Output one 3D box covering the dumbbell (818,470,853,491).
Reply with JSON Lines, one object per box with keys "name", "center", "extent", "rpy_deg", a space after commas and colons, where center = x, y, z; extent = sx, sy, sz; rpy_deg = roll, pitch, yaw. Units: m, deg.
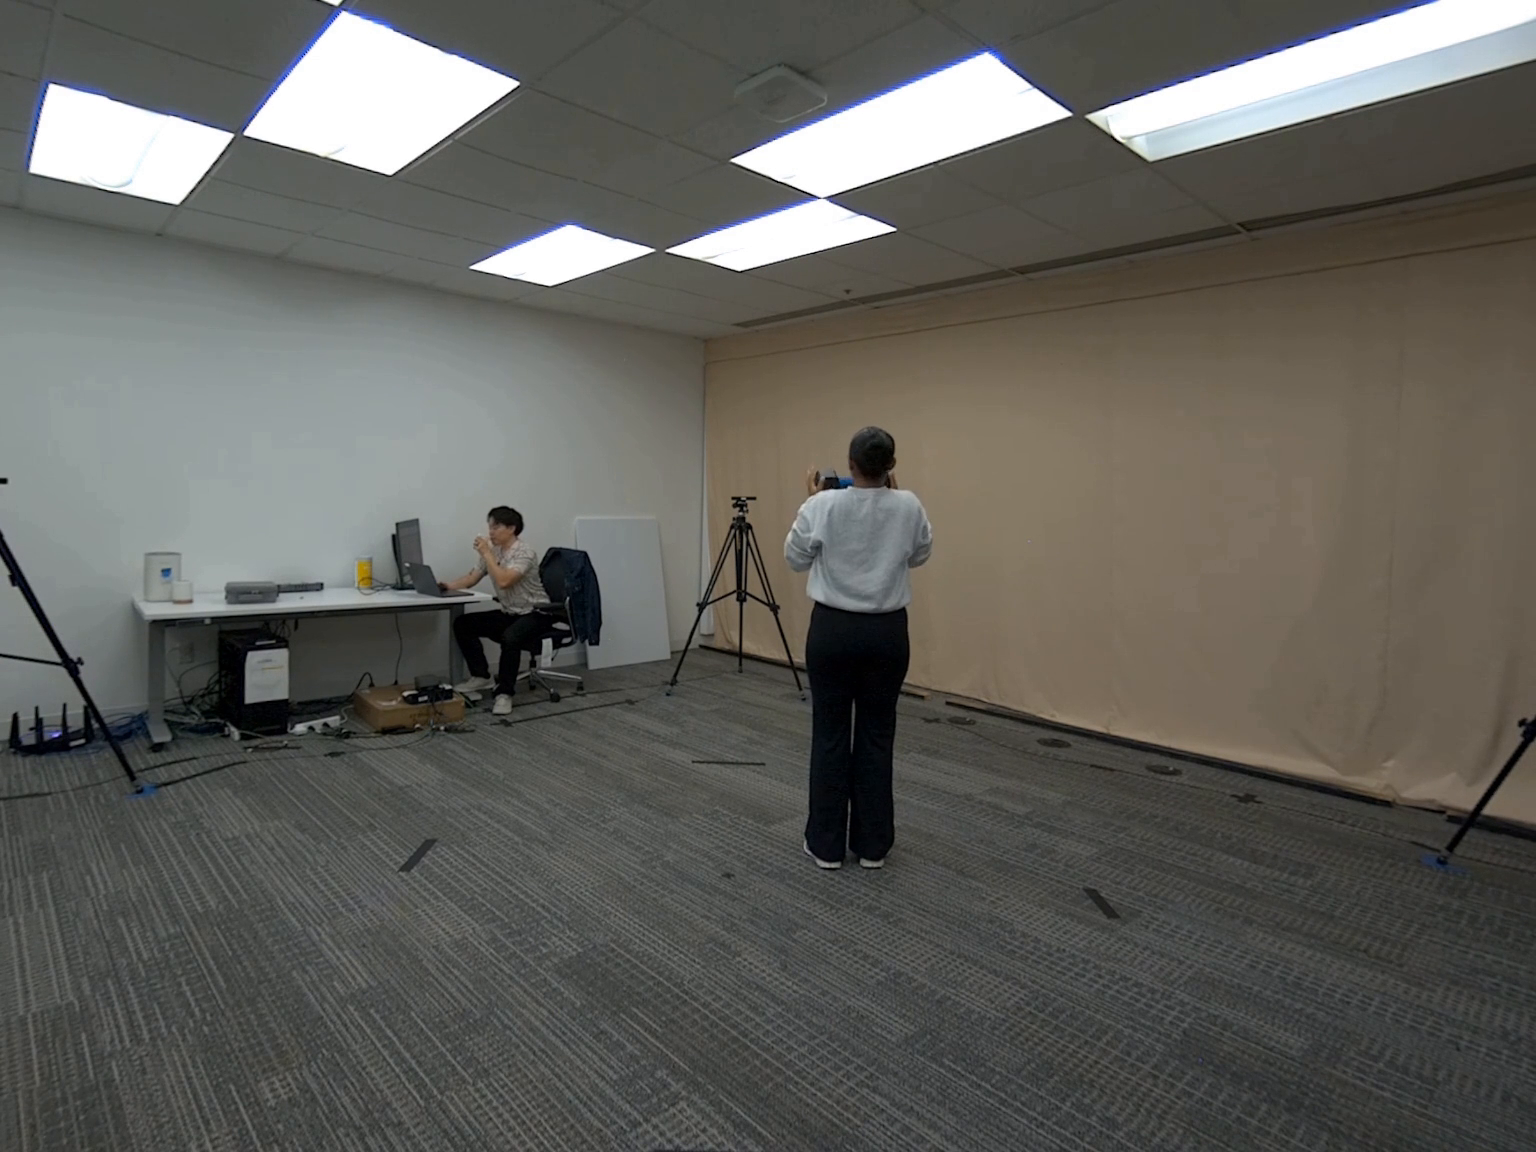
{"name": "dumbbell", "center": [0.326, -0.340, 3.366], "extent": [0.293, 0.106, 0.126], "rpy_deg": [-2, 38, -4]}
